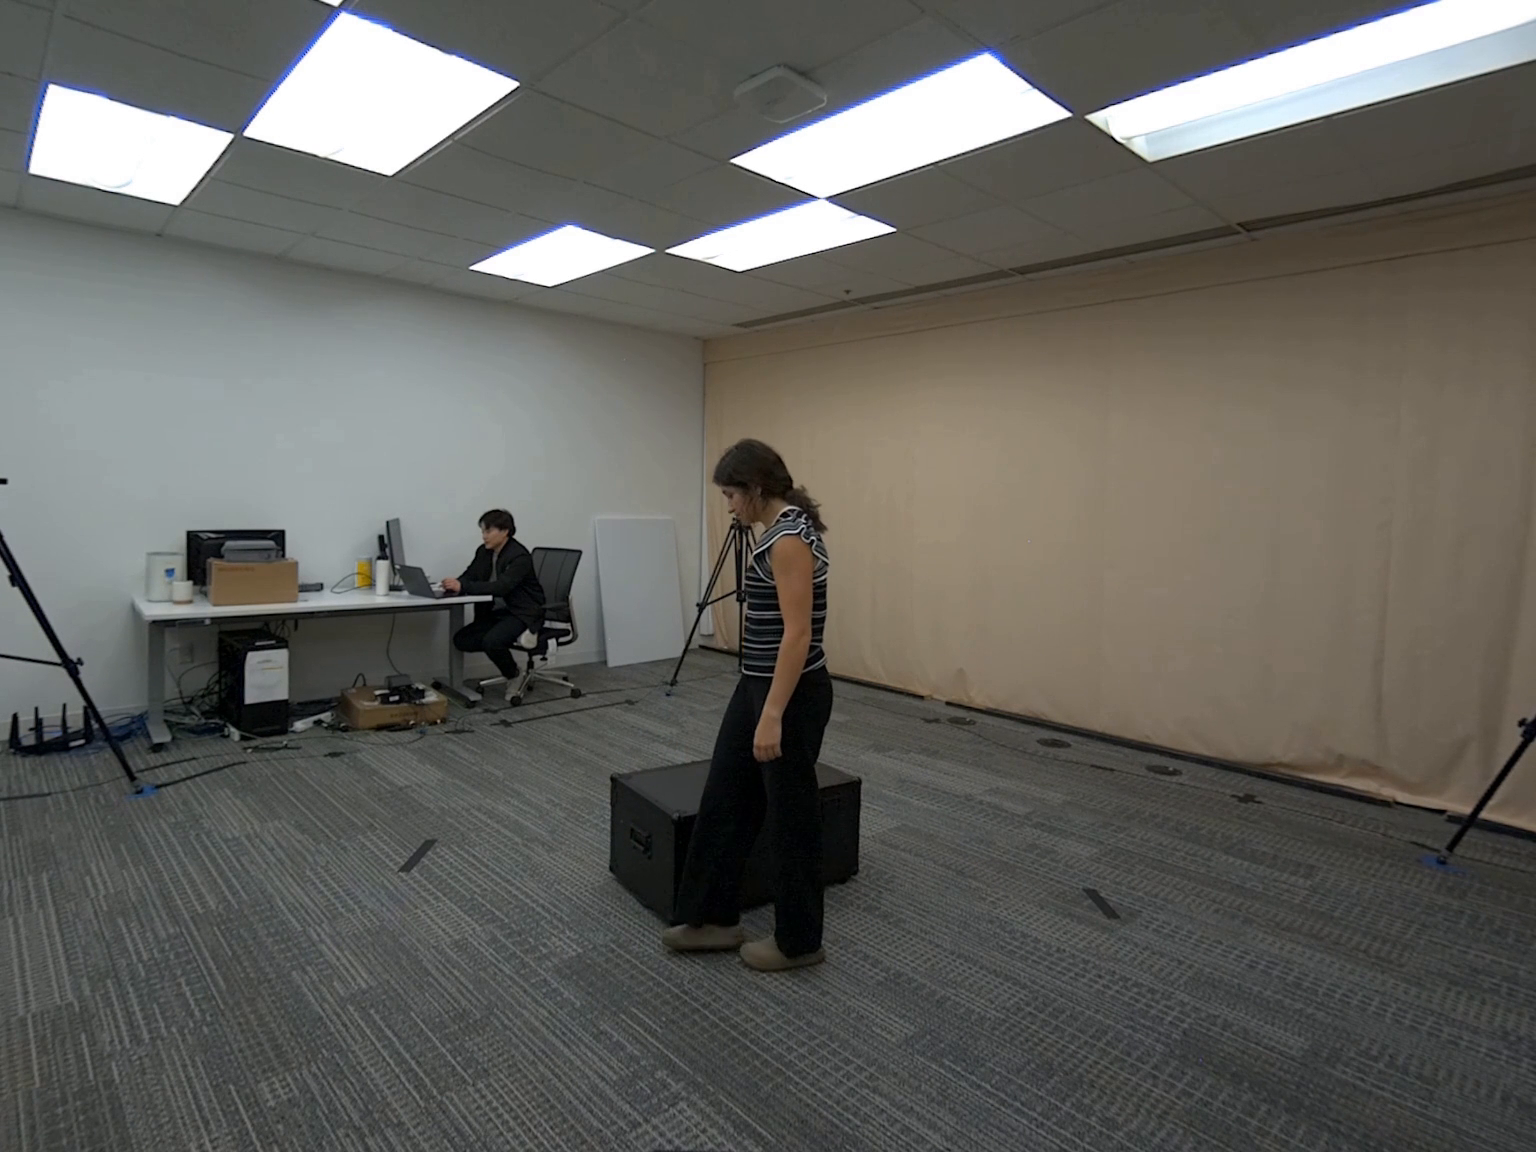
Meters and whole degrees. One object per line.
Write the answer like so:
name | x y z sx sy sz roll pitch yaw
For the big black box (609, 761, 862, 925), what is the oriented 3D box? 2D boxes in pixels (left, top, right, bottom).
big black box | -0.097 0.920 3.087 0.843 0.395 0.534 -3 5 -34
